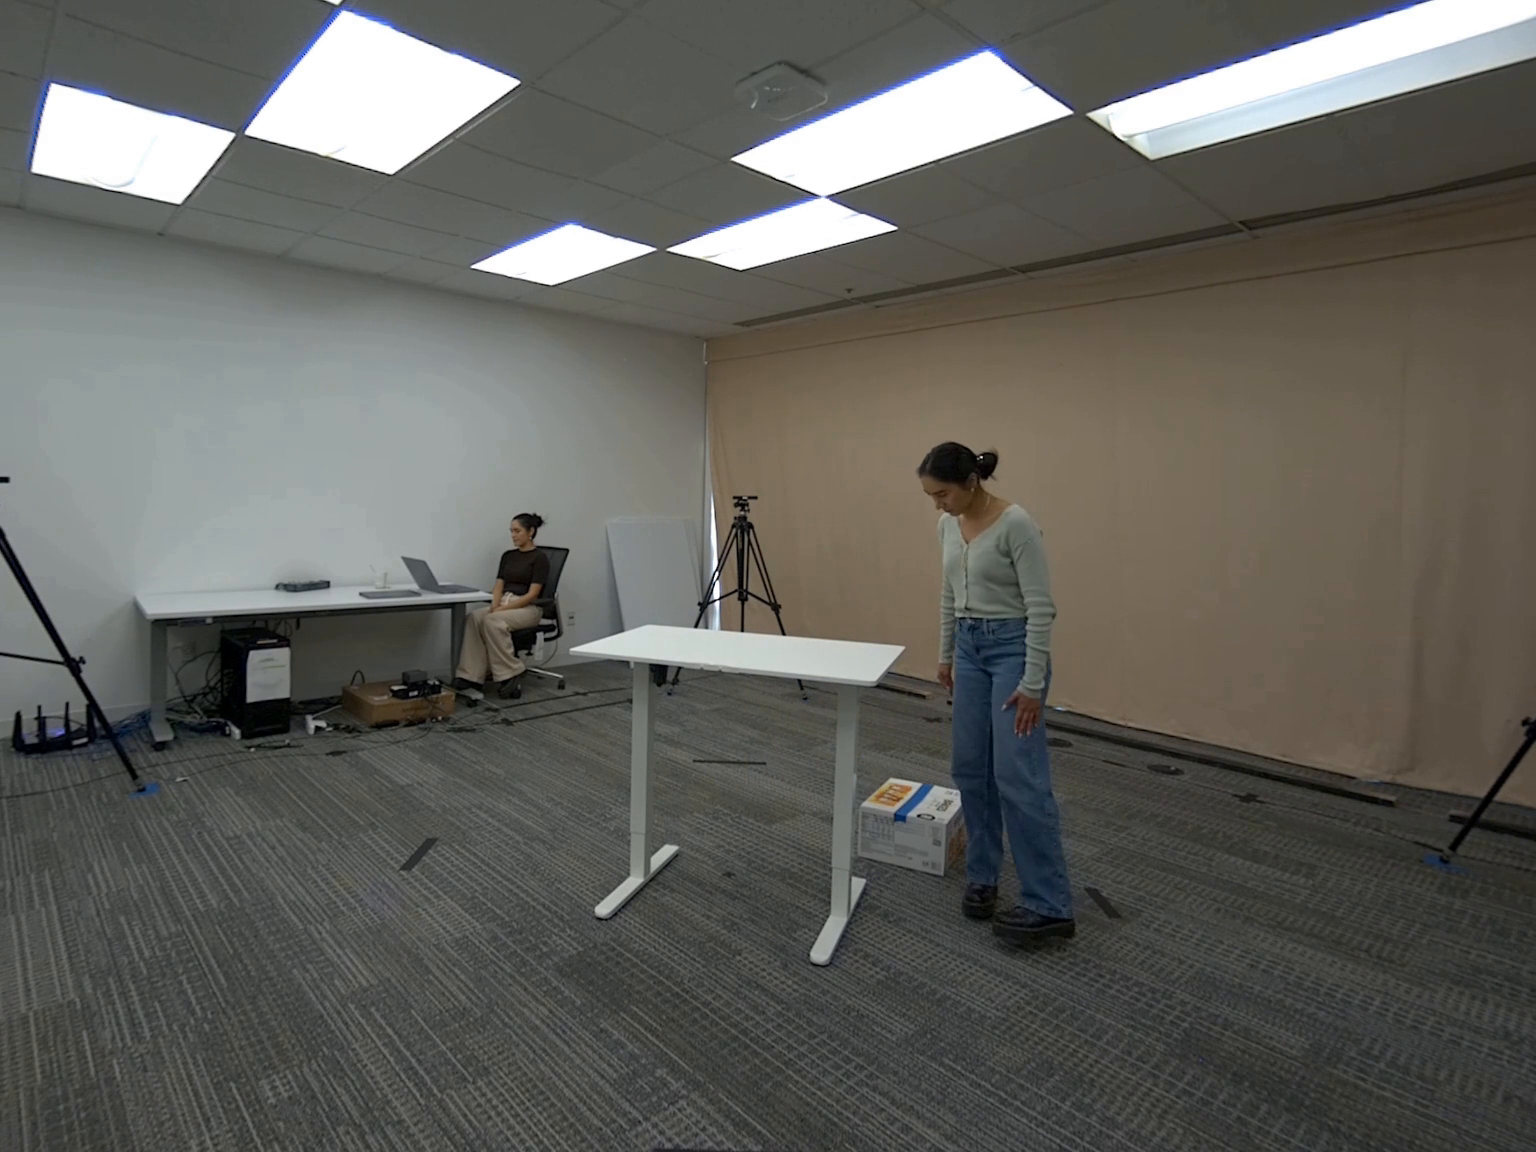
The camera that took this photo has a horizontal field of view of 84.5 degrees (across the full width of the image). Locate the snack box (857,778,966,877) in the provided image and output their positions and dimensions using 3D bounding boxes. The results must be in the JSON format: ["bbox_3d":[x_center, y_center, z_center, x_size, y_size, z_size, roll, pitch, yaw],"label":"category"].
[{"bbox_3d":[0.587,0.995,3.377,0.347,0.205,0.398,4,5,27],"label":"snack box"}]
